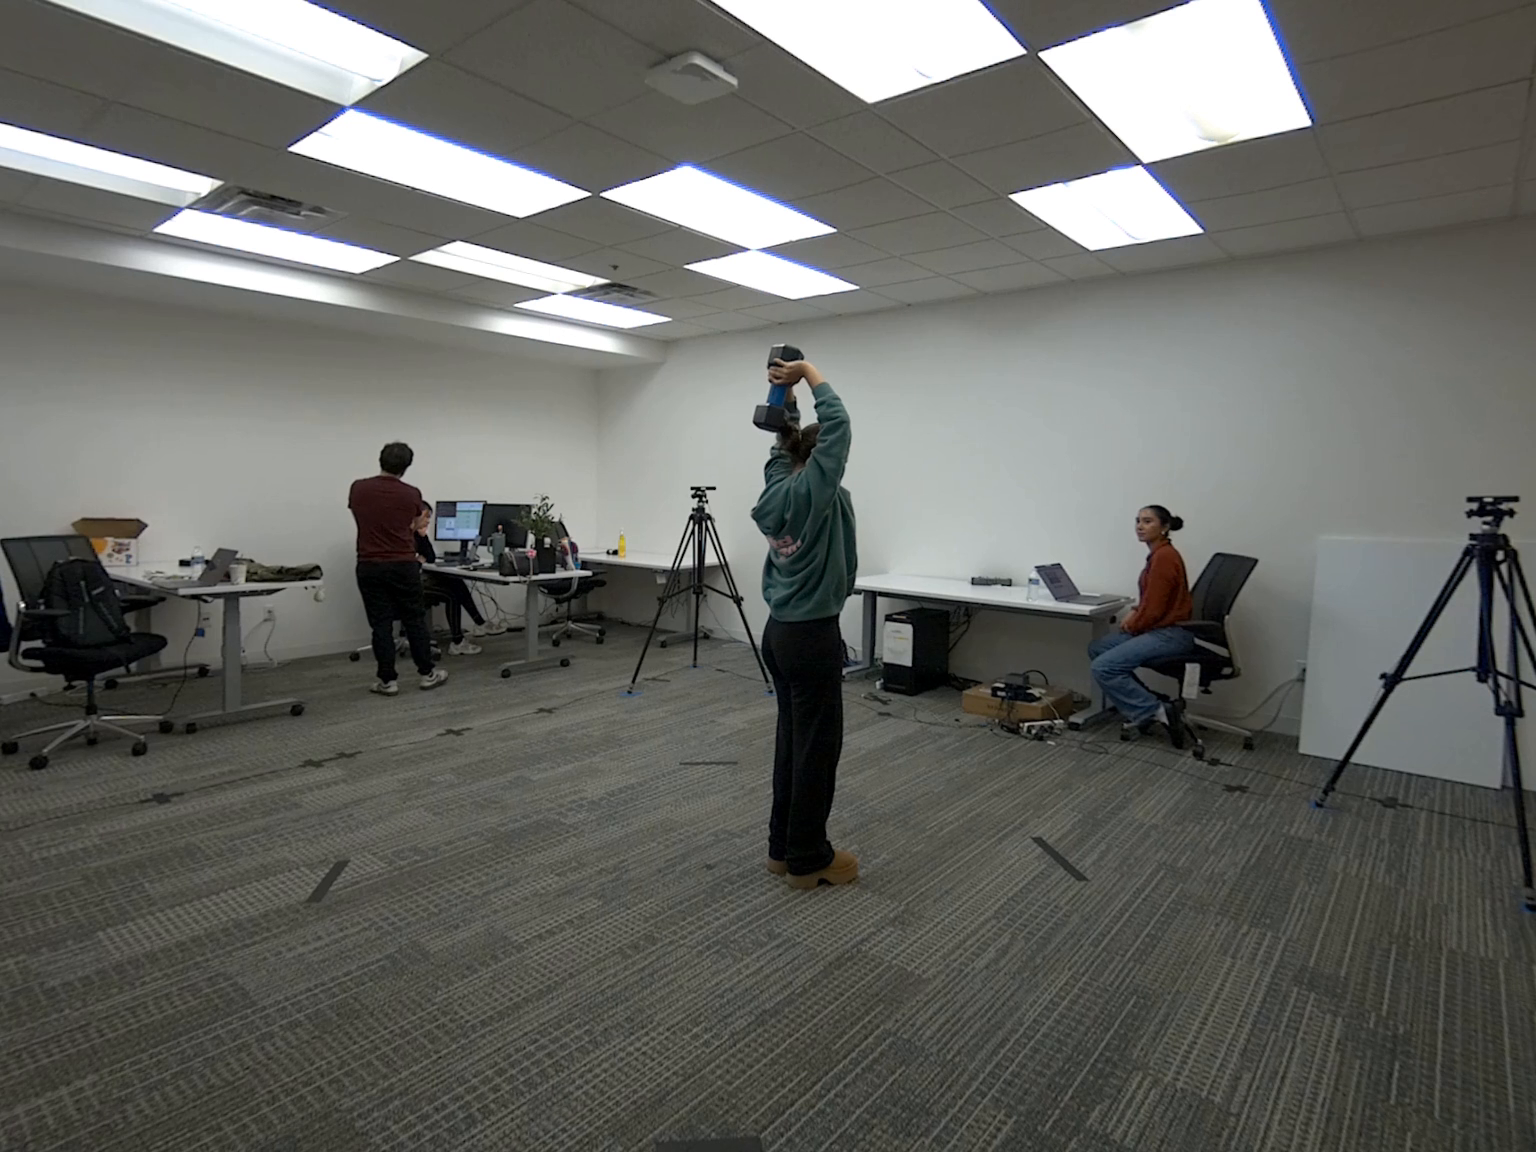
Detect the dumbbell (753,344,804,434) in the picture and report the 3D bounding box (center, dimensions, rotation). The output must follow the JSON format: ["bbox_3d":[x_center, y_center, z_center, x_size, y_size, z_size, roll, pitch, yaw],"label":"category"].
[{"bbox_3d":[0.032,-0.653,2.970,0.120,0.294,0.111,16,-2,-16],"label":"dumbbell"}]
